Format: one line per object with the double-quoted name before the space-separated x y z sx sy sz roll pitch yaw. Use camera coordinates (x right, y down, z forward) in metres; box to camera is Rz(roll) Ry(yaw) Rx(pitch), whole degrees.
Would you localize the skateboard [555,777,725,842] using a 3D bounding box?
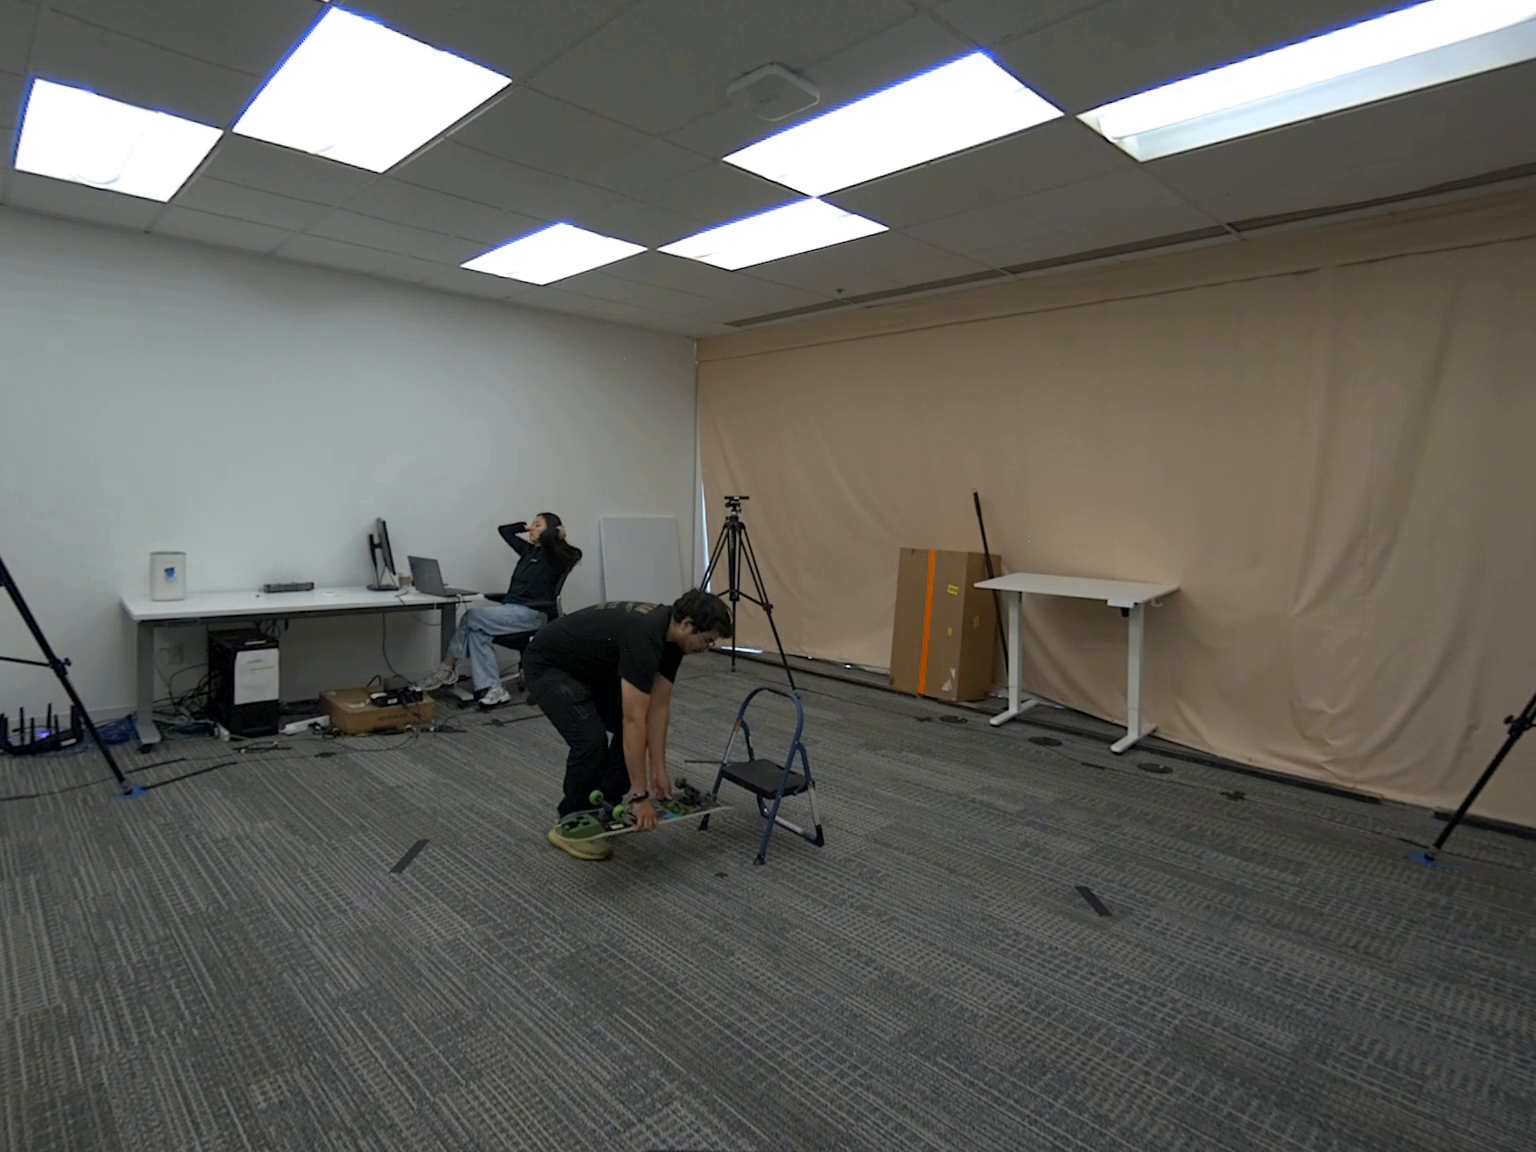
"skateboard" -0.442 0.873 3.159 0.767 0.110 0.199 -1 7 -43
